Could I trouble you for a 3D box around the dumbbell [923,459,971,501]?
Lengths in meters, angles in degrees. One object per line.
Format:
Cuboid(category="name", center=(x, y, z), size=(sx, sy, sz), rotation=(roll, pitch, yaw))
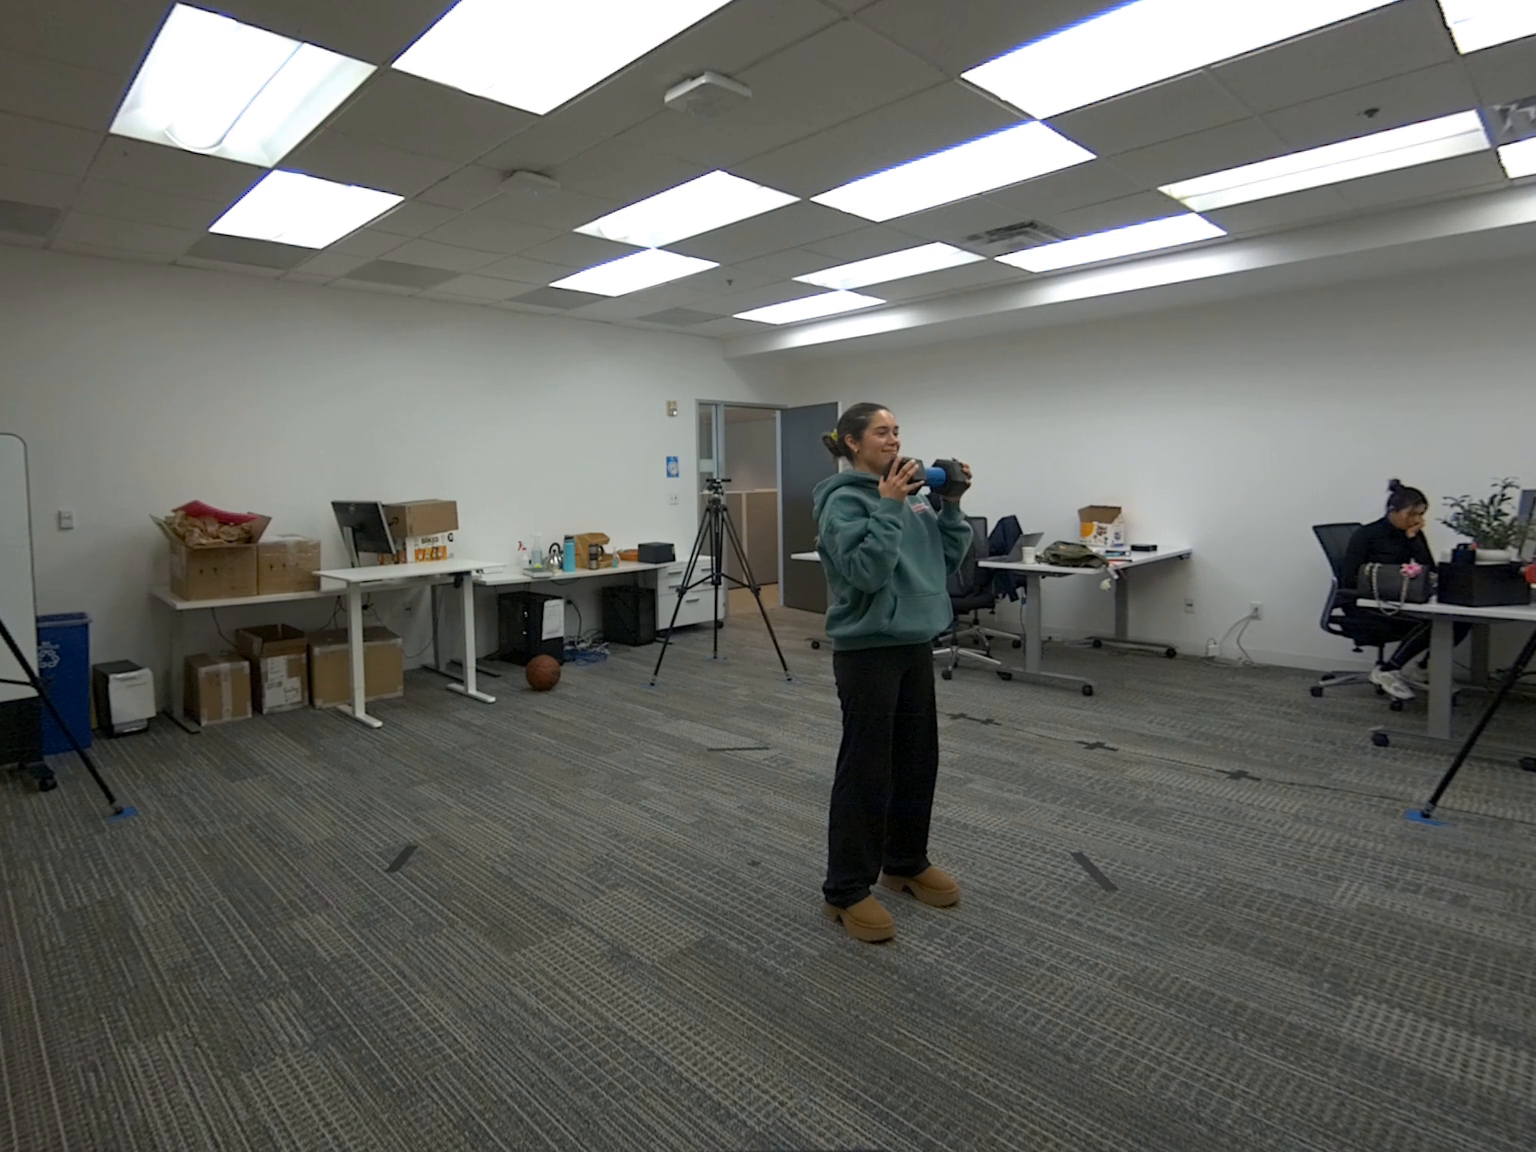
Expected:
Cuboid(category="dumbbell", center=(0.476, -0.297, 2.586), size=(0.286, 0.122, 0.113), rotation=(-2, 44, -38))
